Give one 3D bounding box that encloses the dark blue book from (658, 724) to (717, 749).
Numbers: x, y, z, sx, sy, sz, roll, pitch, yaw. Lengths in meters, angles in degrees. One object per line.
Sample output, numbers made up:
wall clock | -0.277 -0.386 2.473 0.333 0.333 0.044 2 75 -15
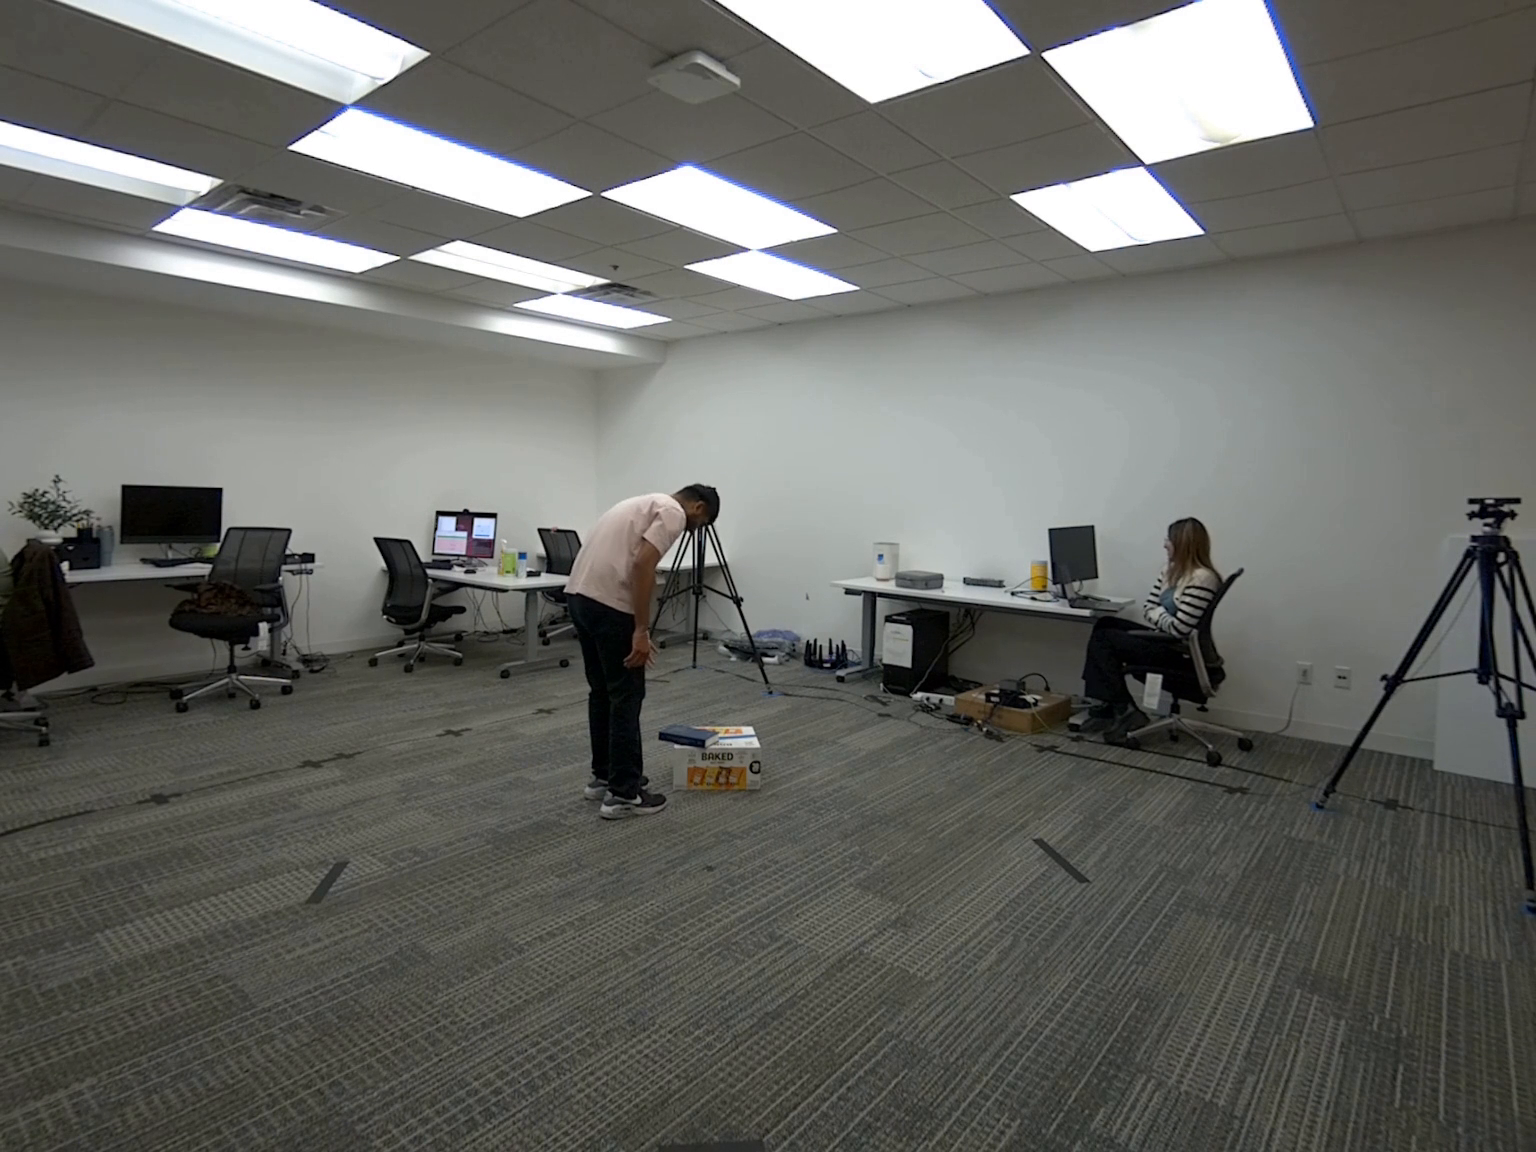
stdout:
dark blue book | -0.378 0.755 4.015 0.251 0.045 0.160 5 4 22
